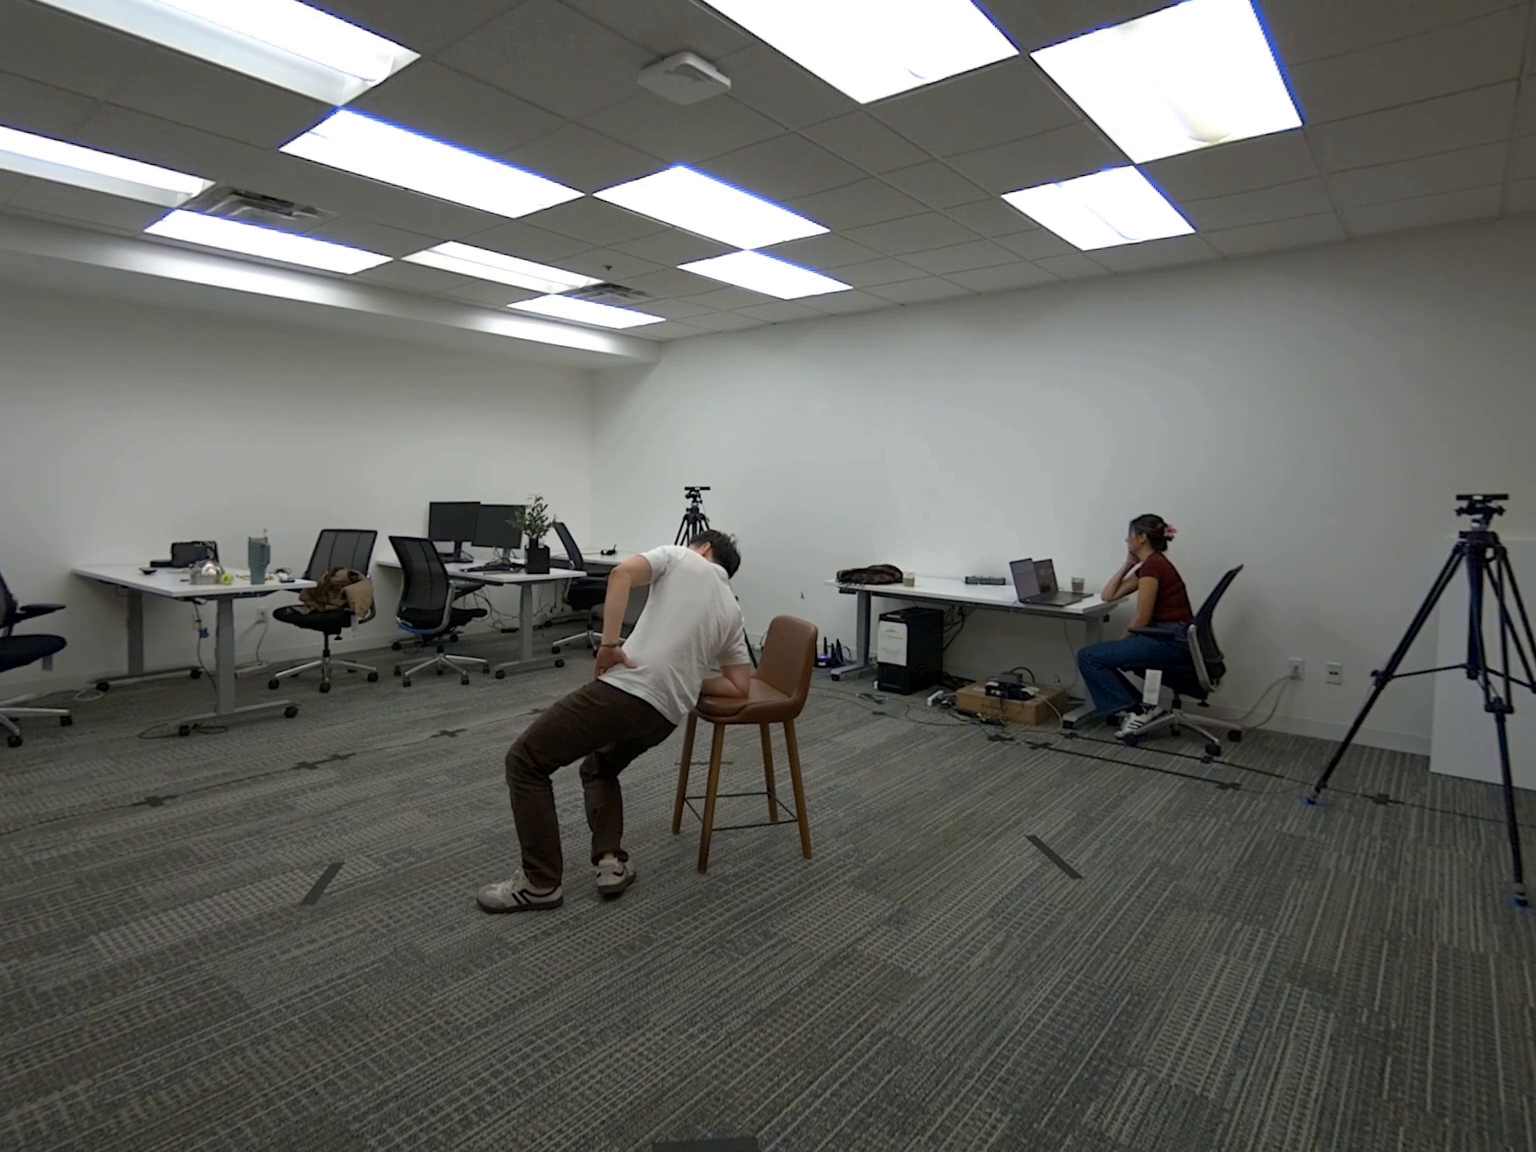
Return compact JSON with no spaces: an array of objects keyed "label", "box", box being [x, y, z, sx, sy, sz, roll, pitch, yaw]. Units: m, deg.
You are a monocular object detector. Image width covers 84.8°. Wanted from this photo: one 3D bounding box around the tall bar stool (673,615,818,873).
[{"label":"tall bar stool","box":[-0.106,0.612,3.301,0.458,0.888,0.467,1,3,-20]}]
